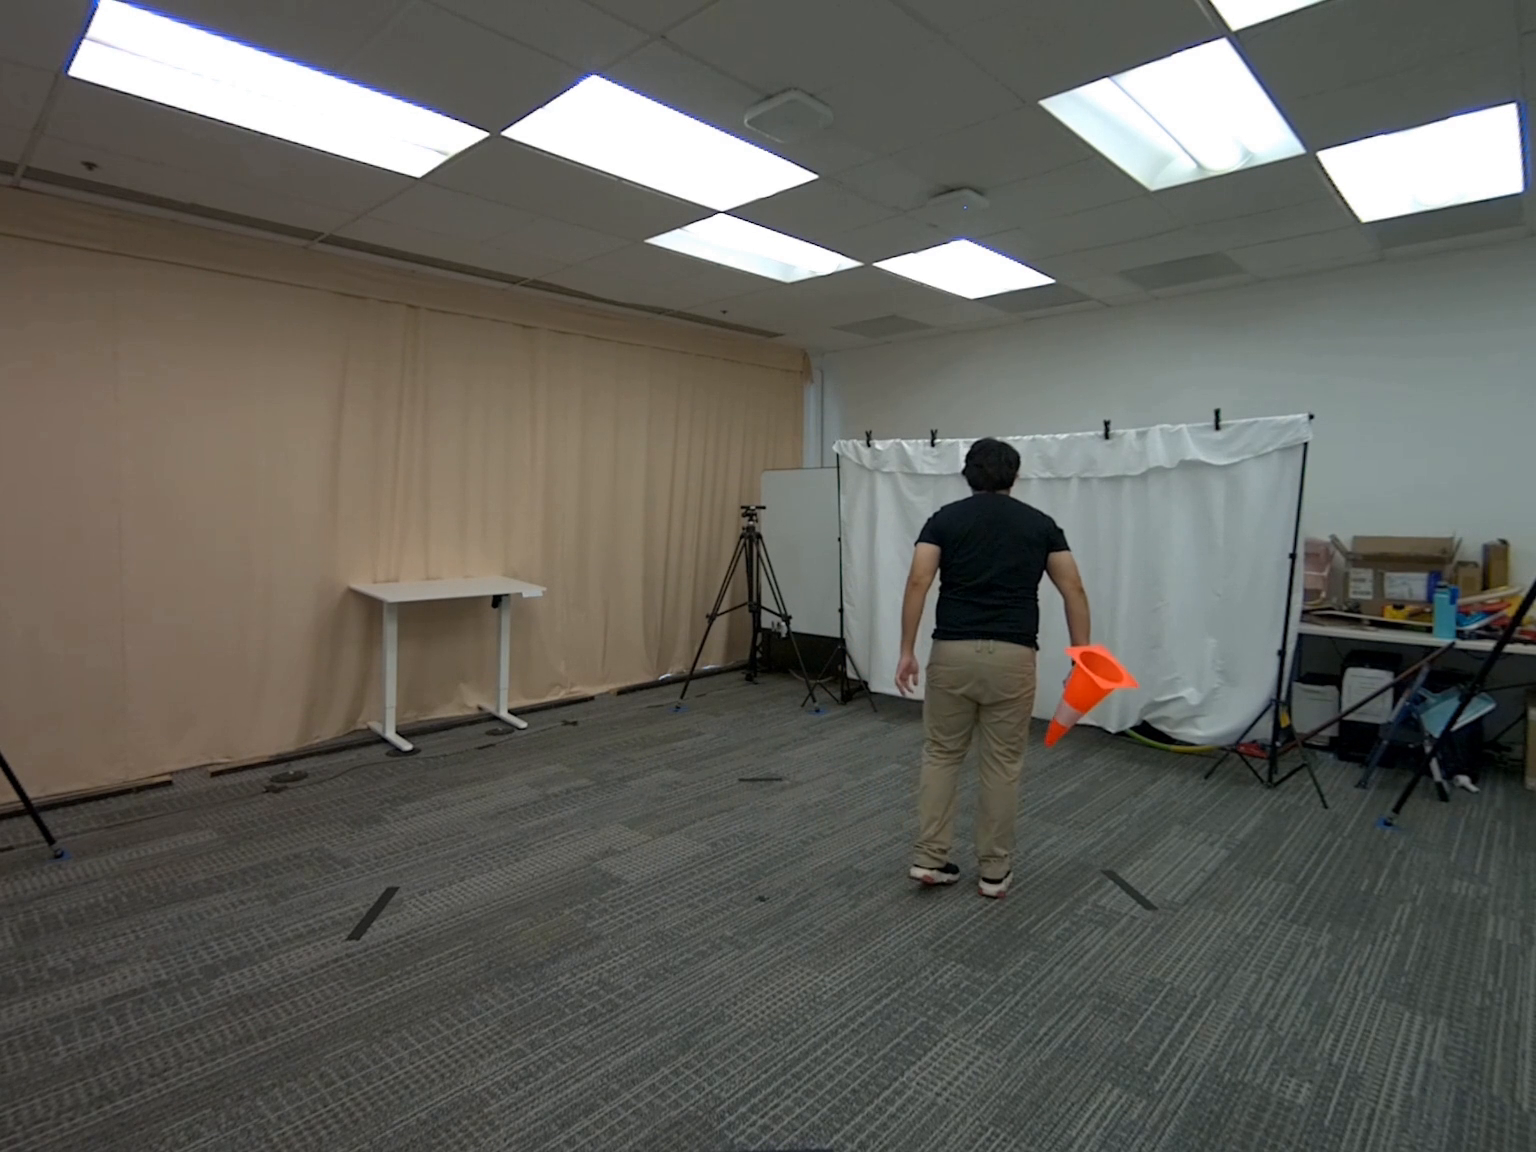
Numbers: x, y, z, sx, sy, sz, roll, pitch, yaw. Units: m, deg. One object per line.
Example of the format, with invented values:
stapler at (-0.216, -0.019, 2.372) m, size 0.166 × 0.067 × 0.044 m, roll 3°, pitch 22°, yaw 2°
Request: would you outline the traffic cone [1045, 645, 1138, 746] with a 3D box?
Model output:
traffic cone at (1.077, 0.462, 2.952) m, size 0.198 × 0.381 × 0.212 m, roll 0°, pitch 37°, yaw -30°
